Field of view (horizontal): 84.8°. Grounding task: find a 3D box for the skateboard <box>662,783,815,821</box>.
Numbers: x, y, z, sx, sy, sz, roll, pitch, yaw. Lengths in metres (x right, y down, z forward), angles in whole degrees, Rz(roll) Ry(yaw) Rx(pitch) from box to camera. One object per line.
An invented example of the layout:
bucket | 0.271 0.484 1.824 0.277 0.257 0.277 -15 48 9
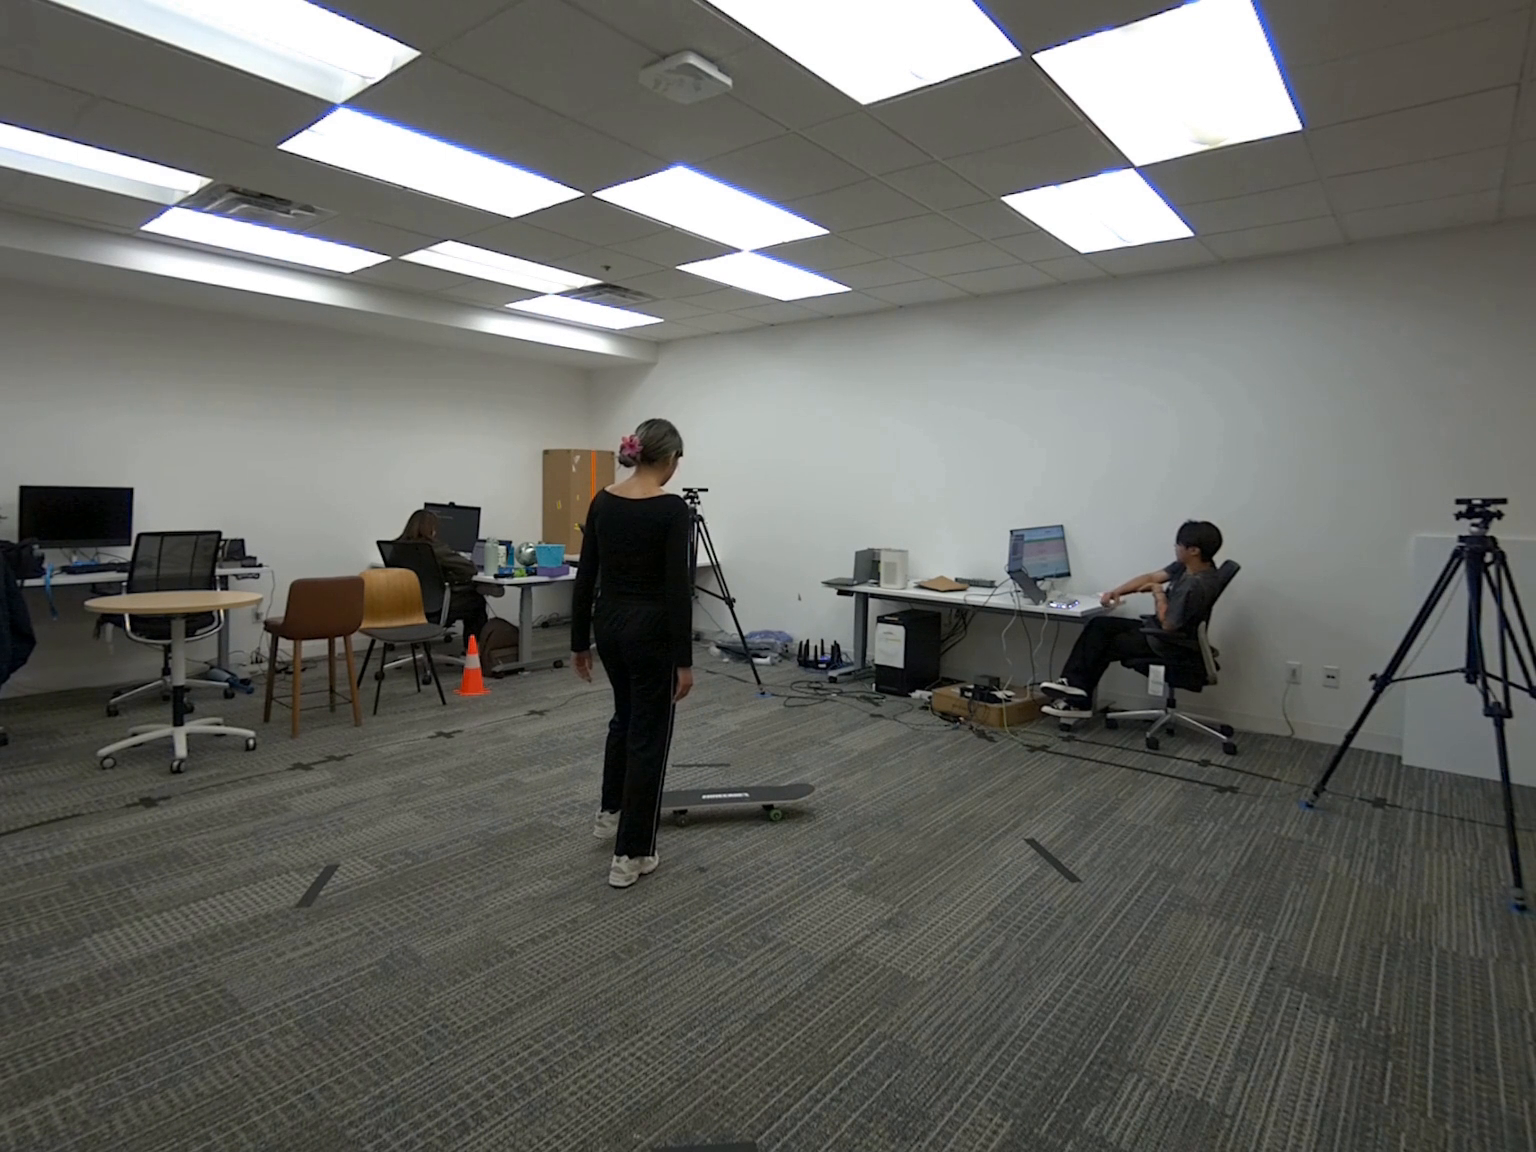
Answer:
skateboard | -0.190 0.967 3.621 0.776 0.110 0.196 0 6 -11
